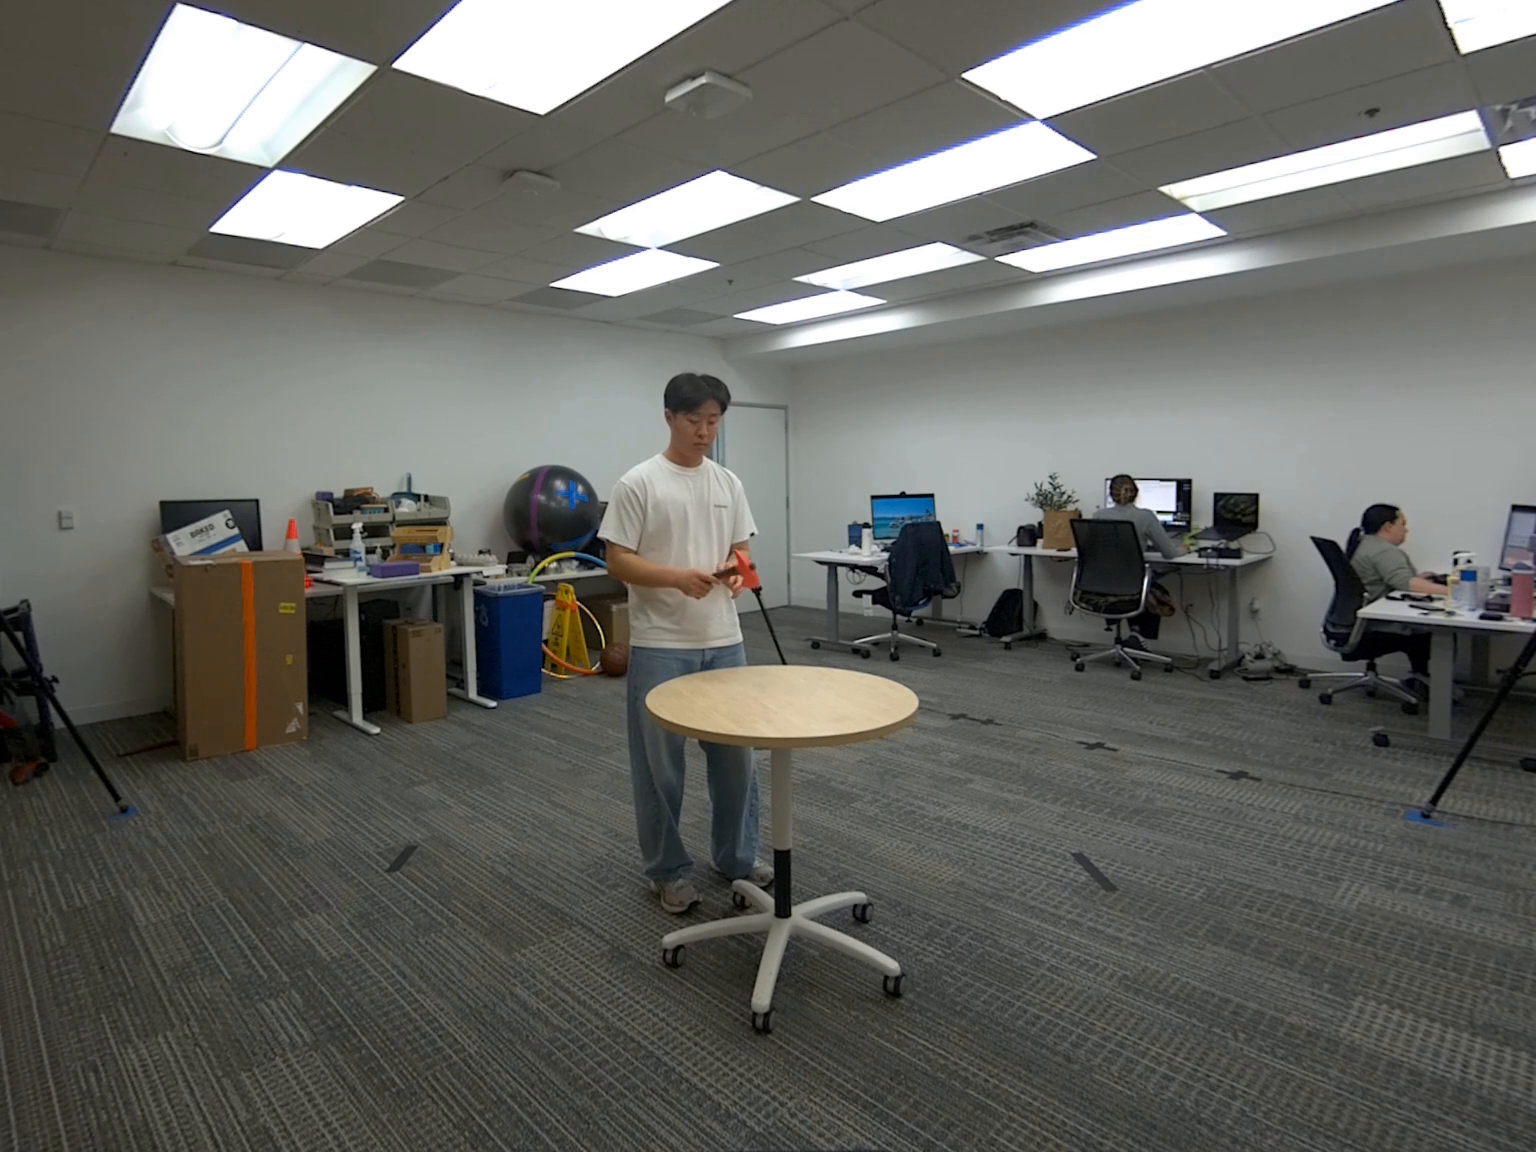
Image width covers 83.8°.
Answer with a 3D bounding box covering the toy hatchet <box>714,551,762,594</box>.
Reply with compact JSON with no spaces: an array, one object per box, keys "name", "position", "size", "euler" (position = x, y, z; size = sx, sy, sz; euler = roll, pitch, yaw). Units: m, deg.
[{"name":"toy hatchet","position":[-0.127,0.020,2.568],"size":[0.271,0.131,0.029],"euler":[-42,2,46]}]
